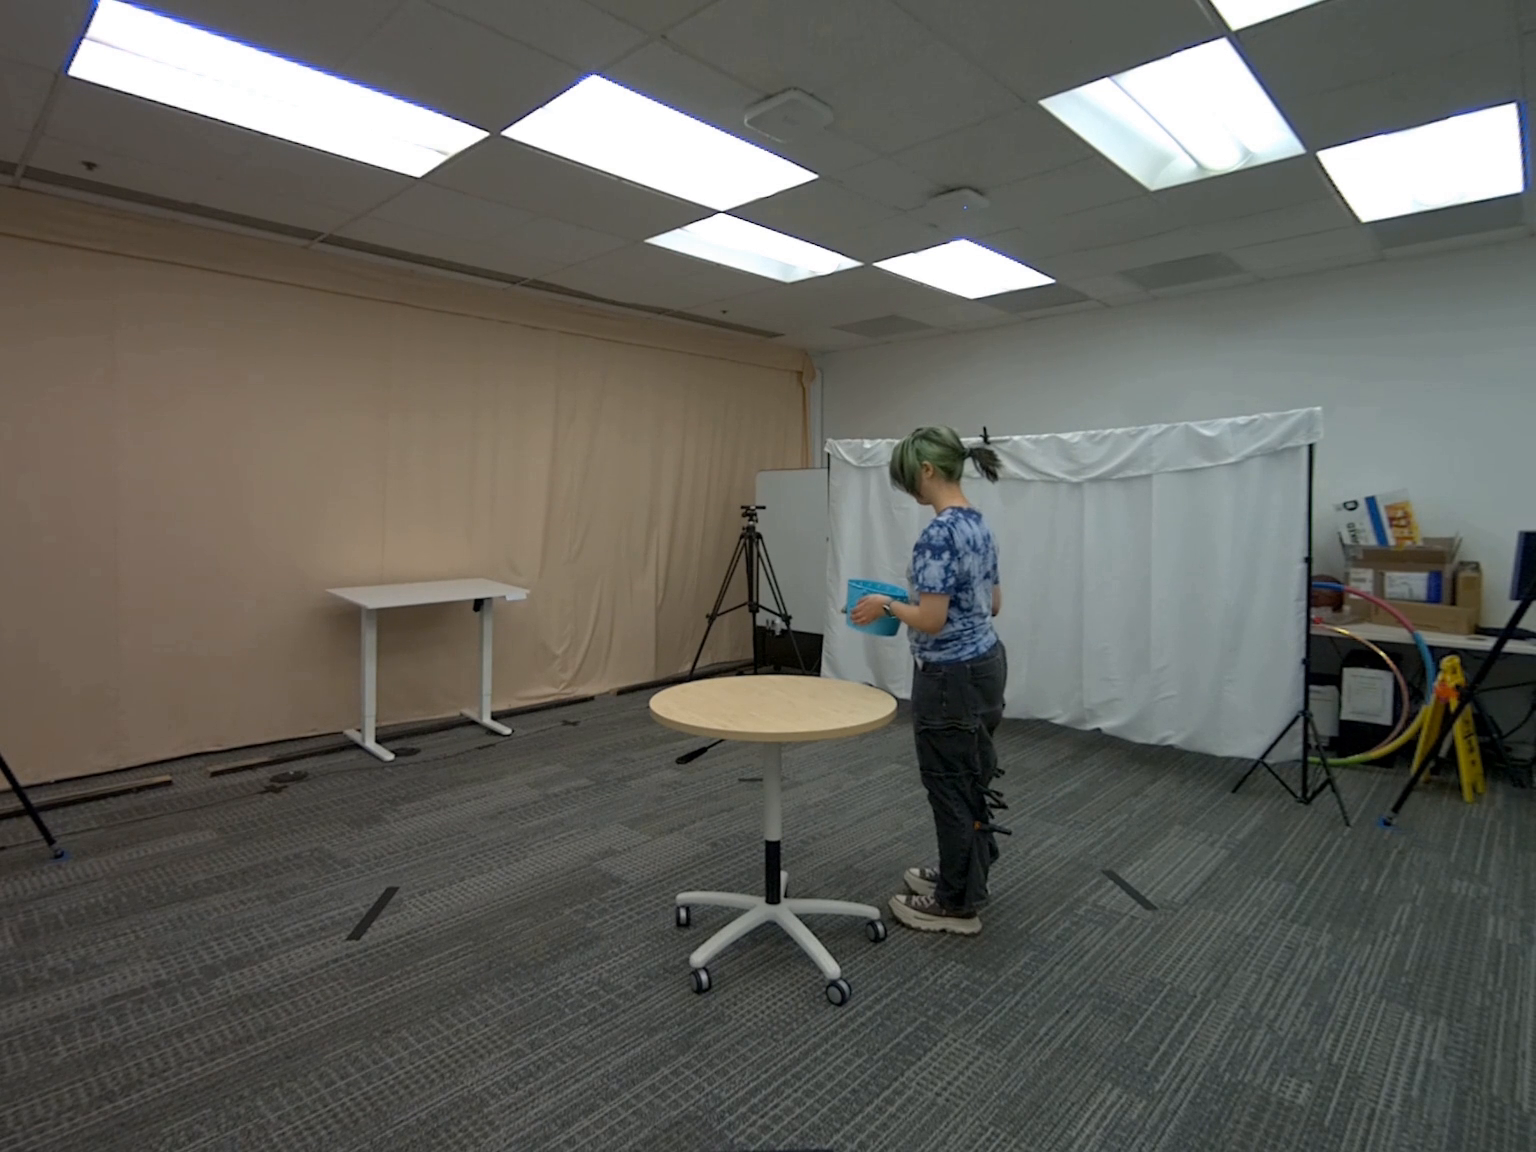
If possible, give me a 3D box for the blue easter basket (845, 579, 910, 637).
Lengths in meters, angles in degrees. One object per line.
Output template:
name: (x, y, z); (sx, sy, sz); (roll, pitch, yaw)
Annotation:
blue easter basket: (0.391, 0.116, 2.938); (0.243, 0.155, 0.245); (8, 11, -3)
